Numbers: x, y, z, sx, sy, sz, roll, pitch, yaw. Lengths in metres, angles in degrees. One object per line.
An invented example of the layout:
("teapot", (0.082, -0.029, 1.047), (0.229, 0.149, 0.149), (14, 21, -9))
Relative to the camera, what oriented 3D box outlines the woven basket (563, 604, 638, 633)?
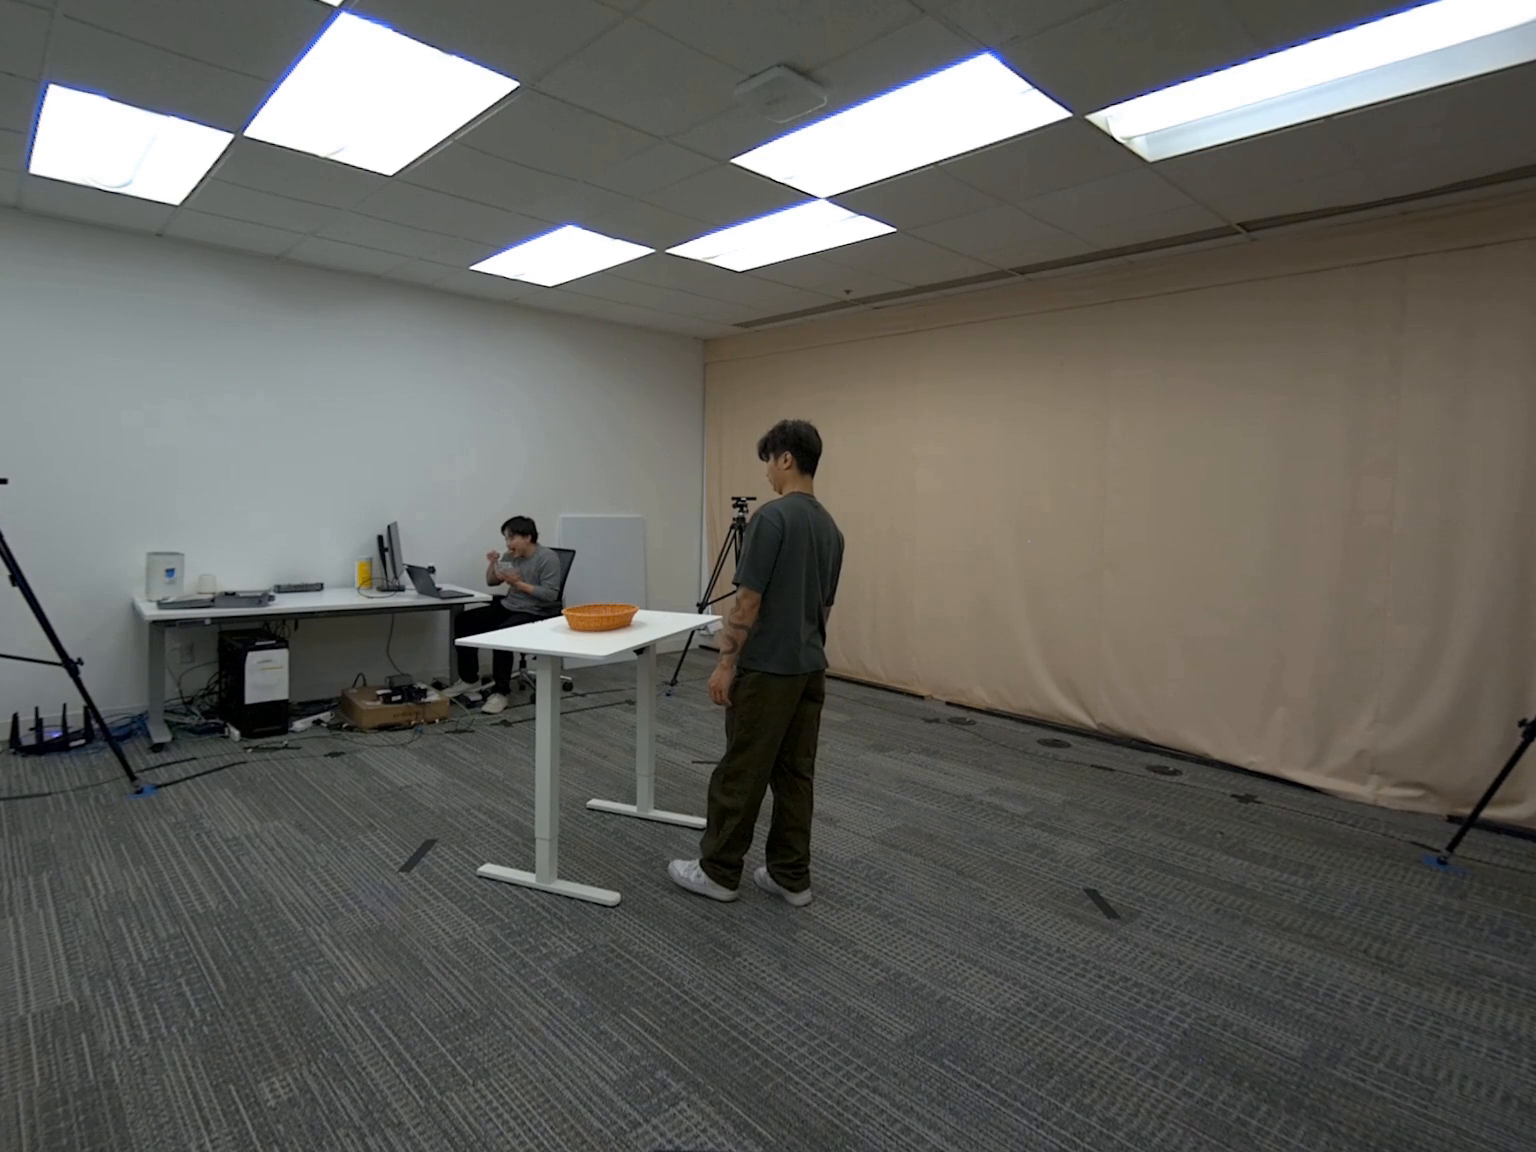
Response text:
("woven basket", (-0.666, 0.168, 3.279), (0.257, 0.073, 0.345), (3, 6, 22))
